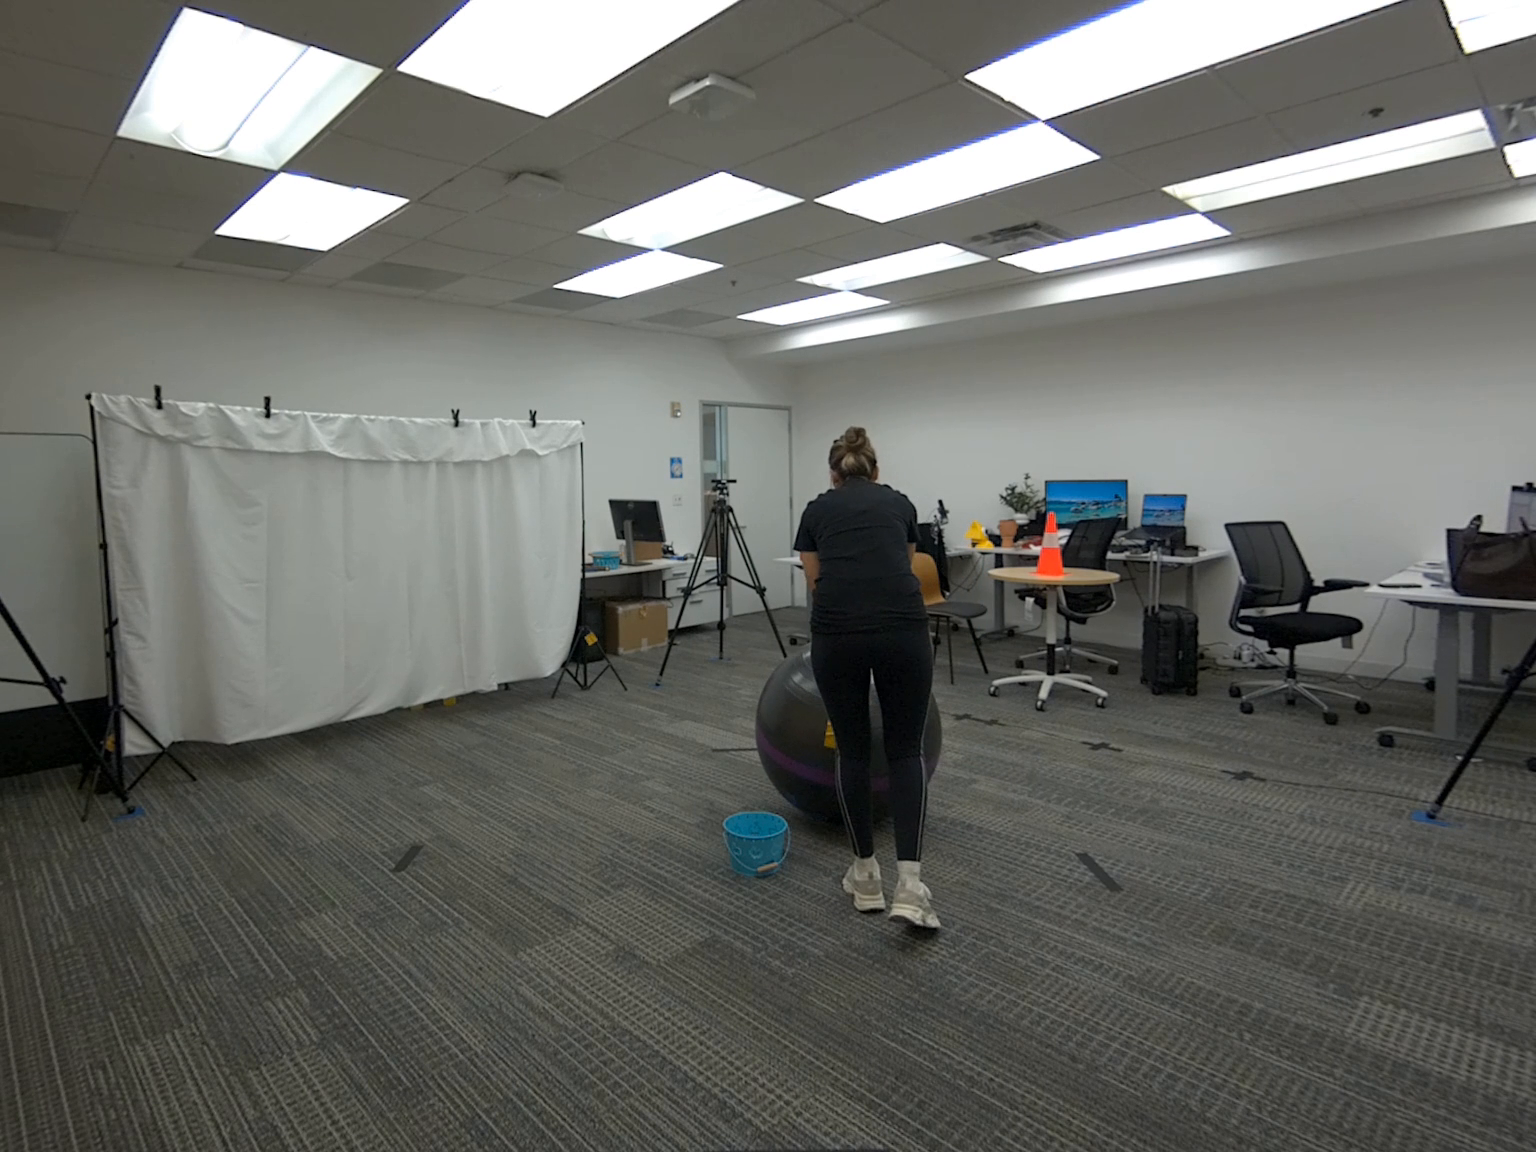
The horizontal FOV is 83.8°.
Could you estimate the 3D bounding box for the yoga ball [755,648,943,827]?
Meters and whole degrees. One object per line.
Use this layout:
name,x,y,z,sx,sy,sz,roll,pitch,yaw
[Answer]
yoga ball,0.335,0.631,3.513,0.757,0.755,0.762,-1,5,-2
